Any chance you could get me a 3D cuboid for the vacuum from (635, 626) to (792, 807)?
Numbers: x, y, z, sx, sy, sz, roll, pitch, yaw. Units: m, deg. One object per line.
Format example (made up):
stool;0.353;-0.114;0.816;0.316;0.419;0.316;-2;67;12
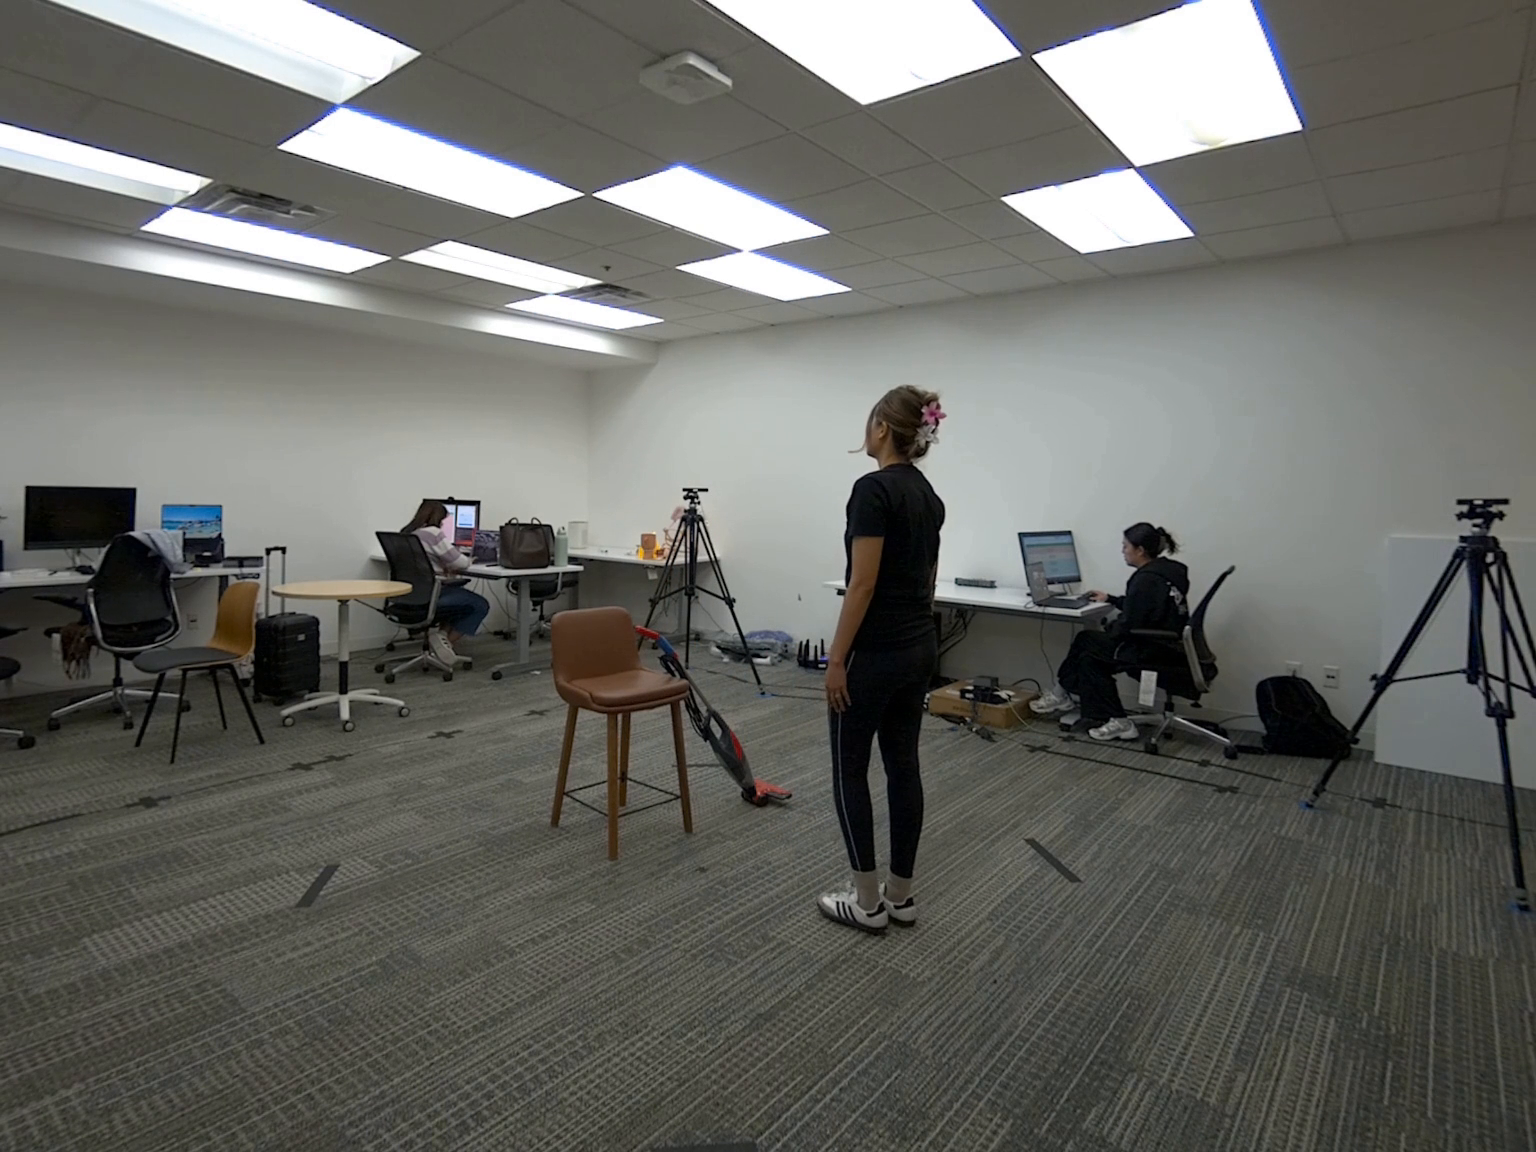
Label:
vacuum;-0.269;0.601;3.616;0.260;1.017;0.144;-1;39;48
